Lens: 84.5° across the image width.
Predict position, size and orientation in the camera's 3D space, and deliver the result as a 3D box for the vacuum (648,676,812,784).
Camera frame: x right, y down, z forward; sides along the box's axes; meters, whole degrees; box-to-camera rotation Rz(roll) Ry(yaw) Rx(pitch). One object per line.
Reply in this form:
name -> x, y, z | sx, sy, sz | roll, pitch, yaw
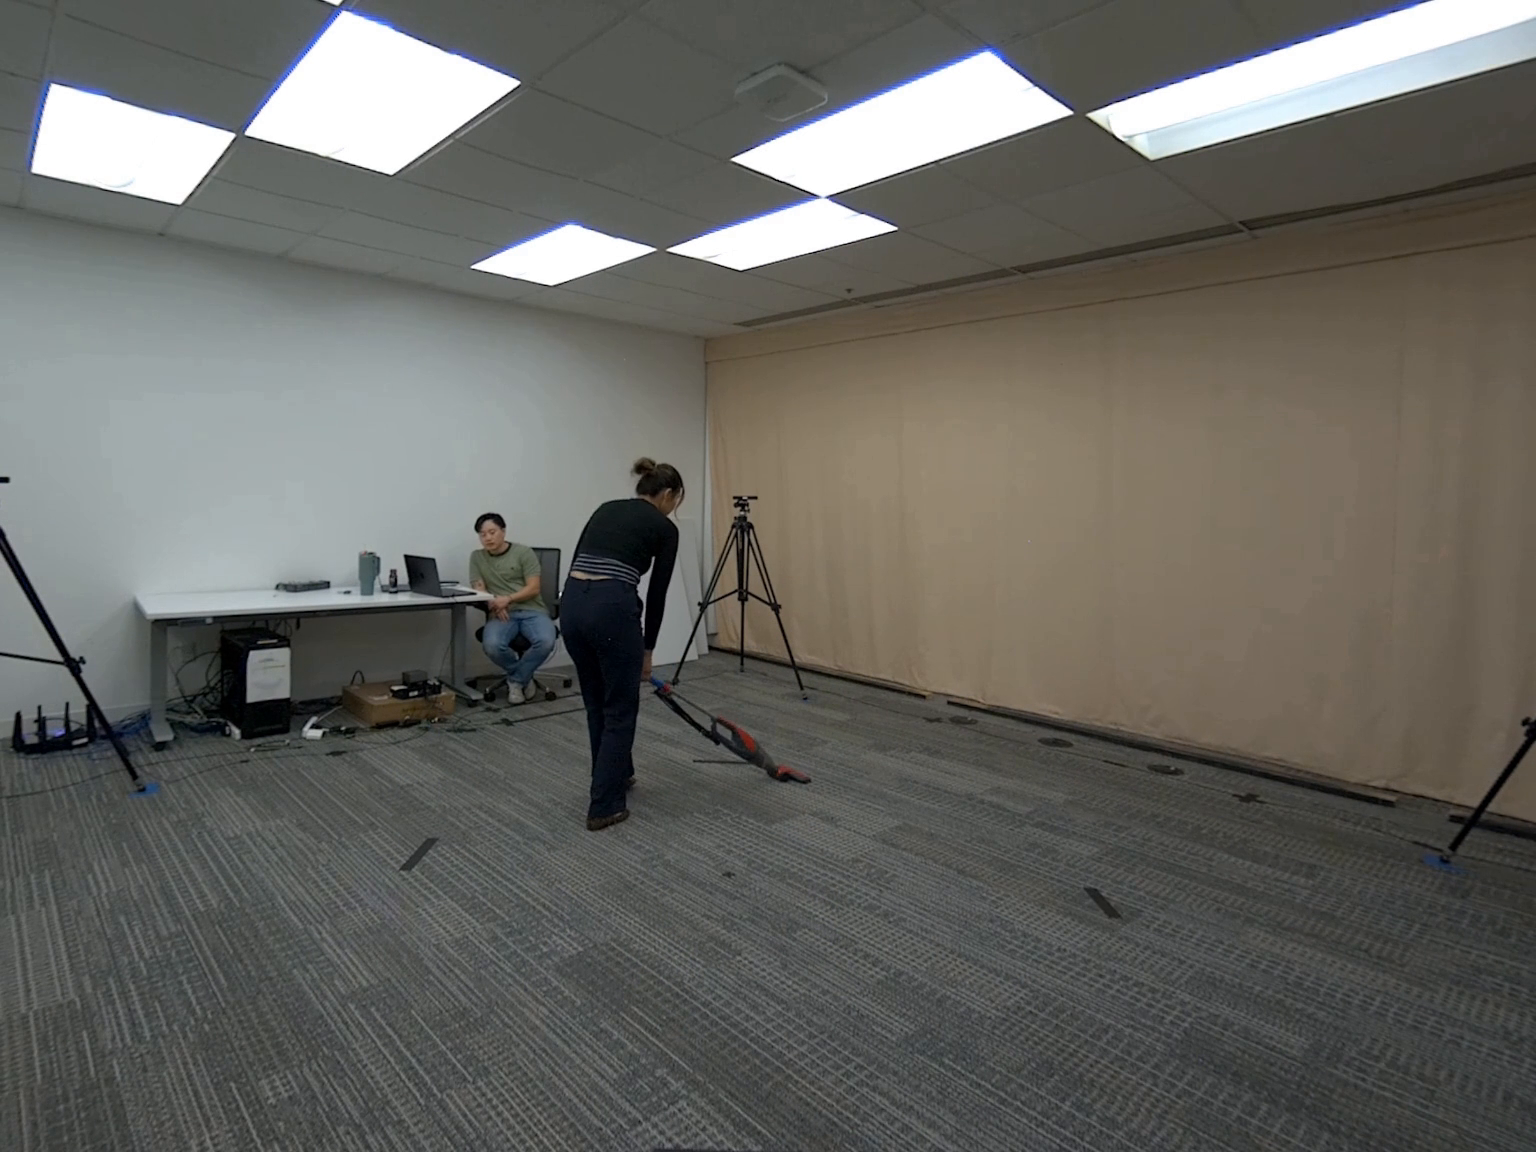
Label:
vacuum -> -0.269, 0.729, 4.019 | 1.024, 0.145, 0.257 | 35, -22, -25
